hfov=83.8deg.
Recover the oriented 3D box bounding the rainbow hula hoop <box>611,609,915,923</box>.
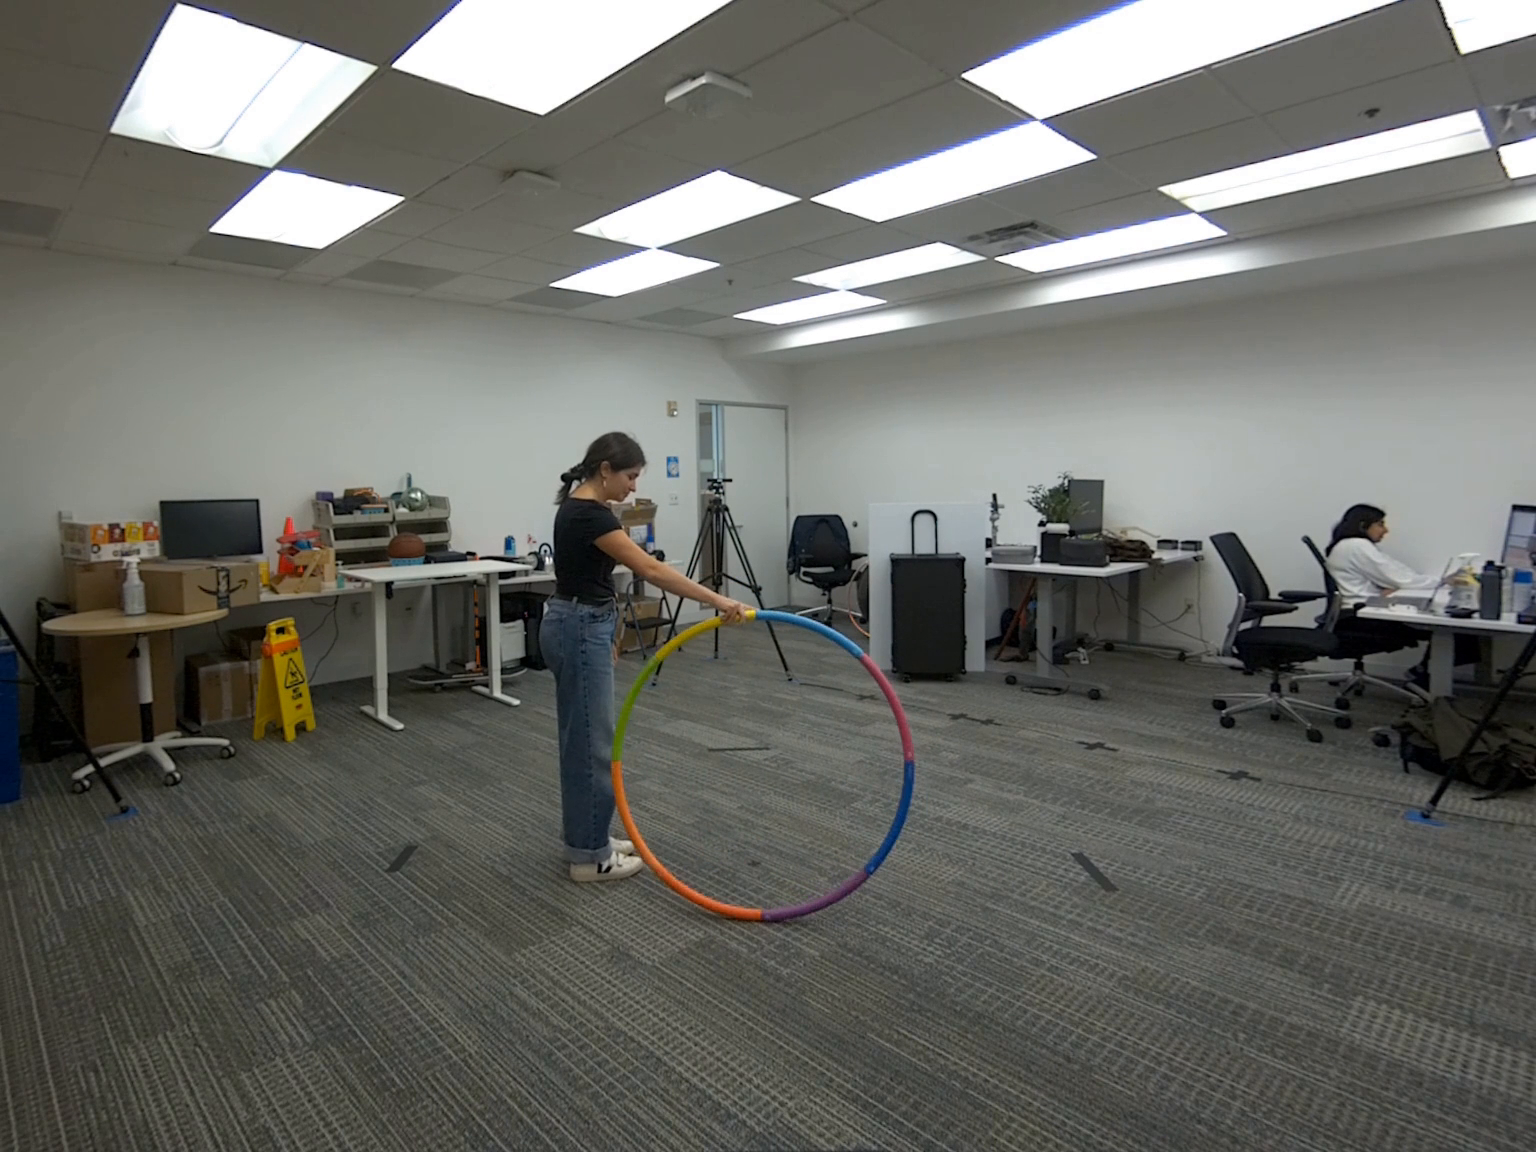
[{"bbox_3d":[-0.027,0.610,2.781,0.988,0.987,0.035,0,-10,10],"label":"rainbow hula hoop"}]
